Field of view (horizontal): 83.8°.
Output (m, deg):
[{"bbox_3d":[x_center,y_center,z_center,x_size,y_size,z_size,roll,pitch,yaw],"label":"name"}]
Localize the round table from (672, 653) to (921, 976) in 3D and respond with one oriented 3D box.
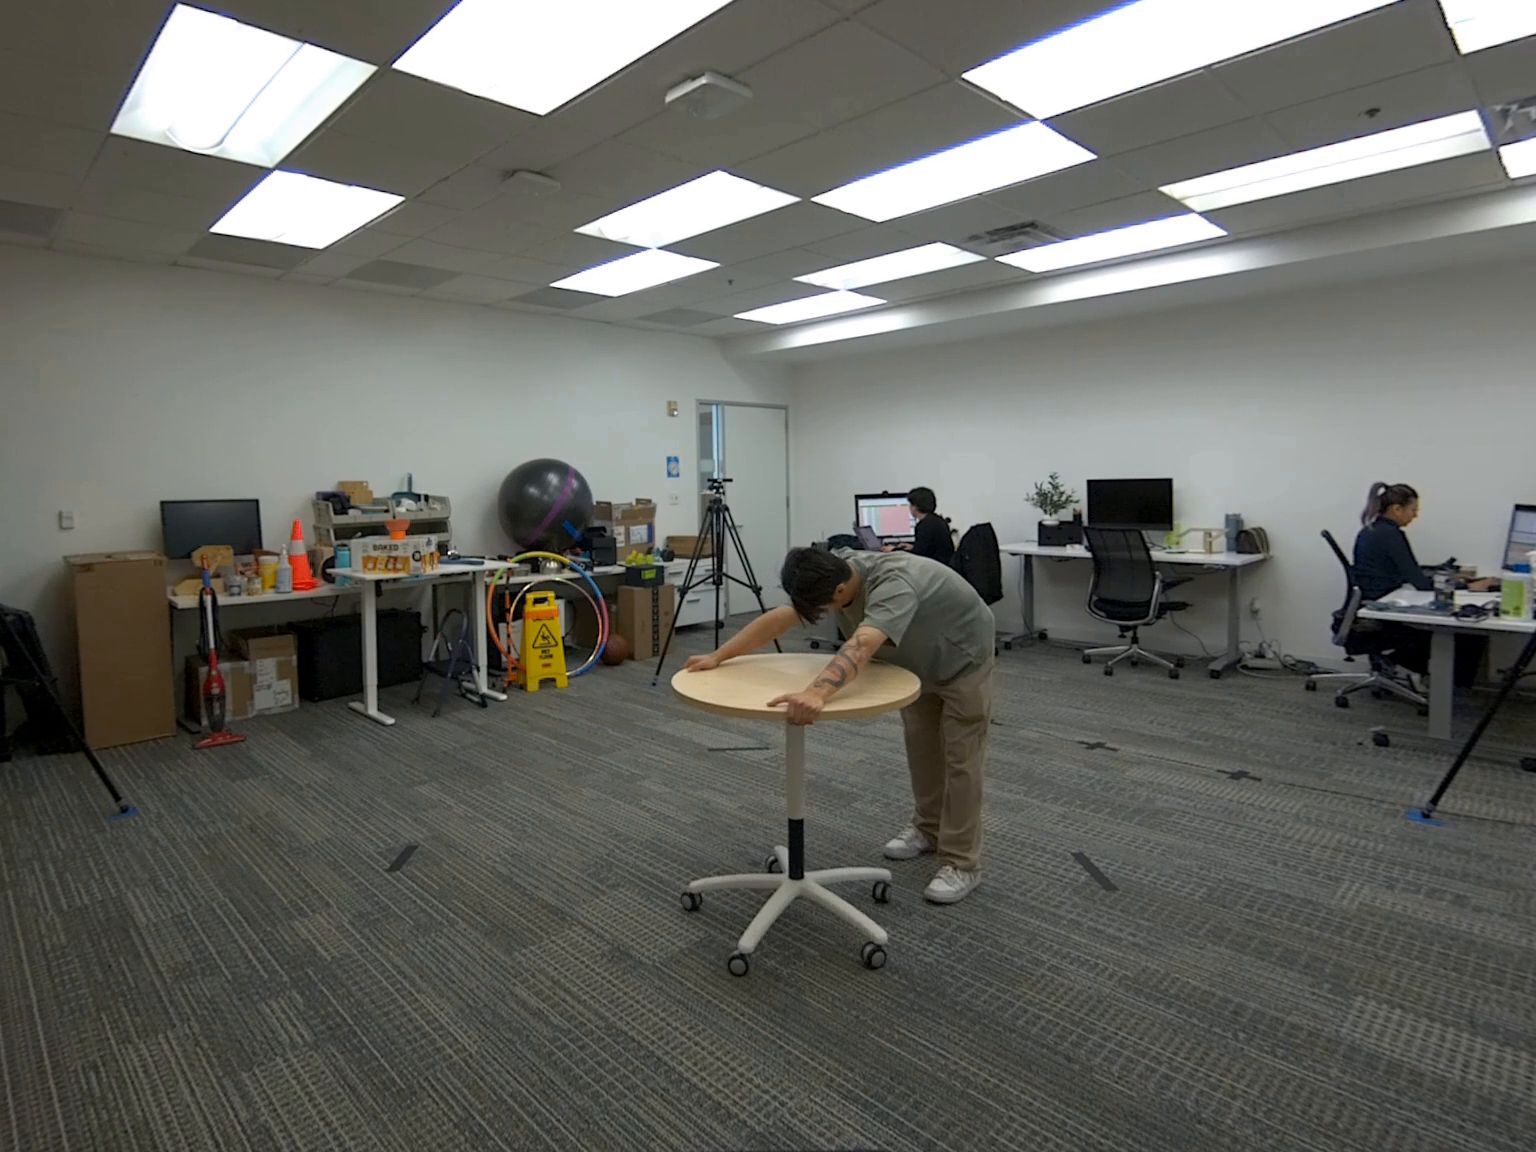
[{"bbox_3d":[0.093,0.702,2.664,0.784,0.783,0.789,-2,5,-2],"label":"round table"}]
